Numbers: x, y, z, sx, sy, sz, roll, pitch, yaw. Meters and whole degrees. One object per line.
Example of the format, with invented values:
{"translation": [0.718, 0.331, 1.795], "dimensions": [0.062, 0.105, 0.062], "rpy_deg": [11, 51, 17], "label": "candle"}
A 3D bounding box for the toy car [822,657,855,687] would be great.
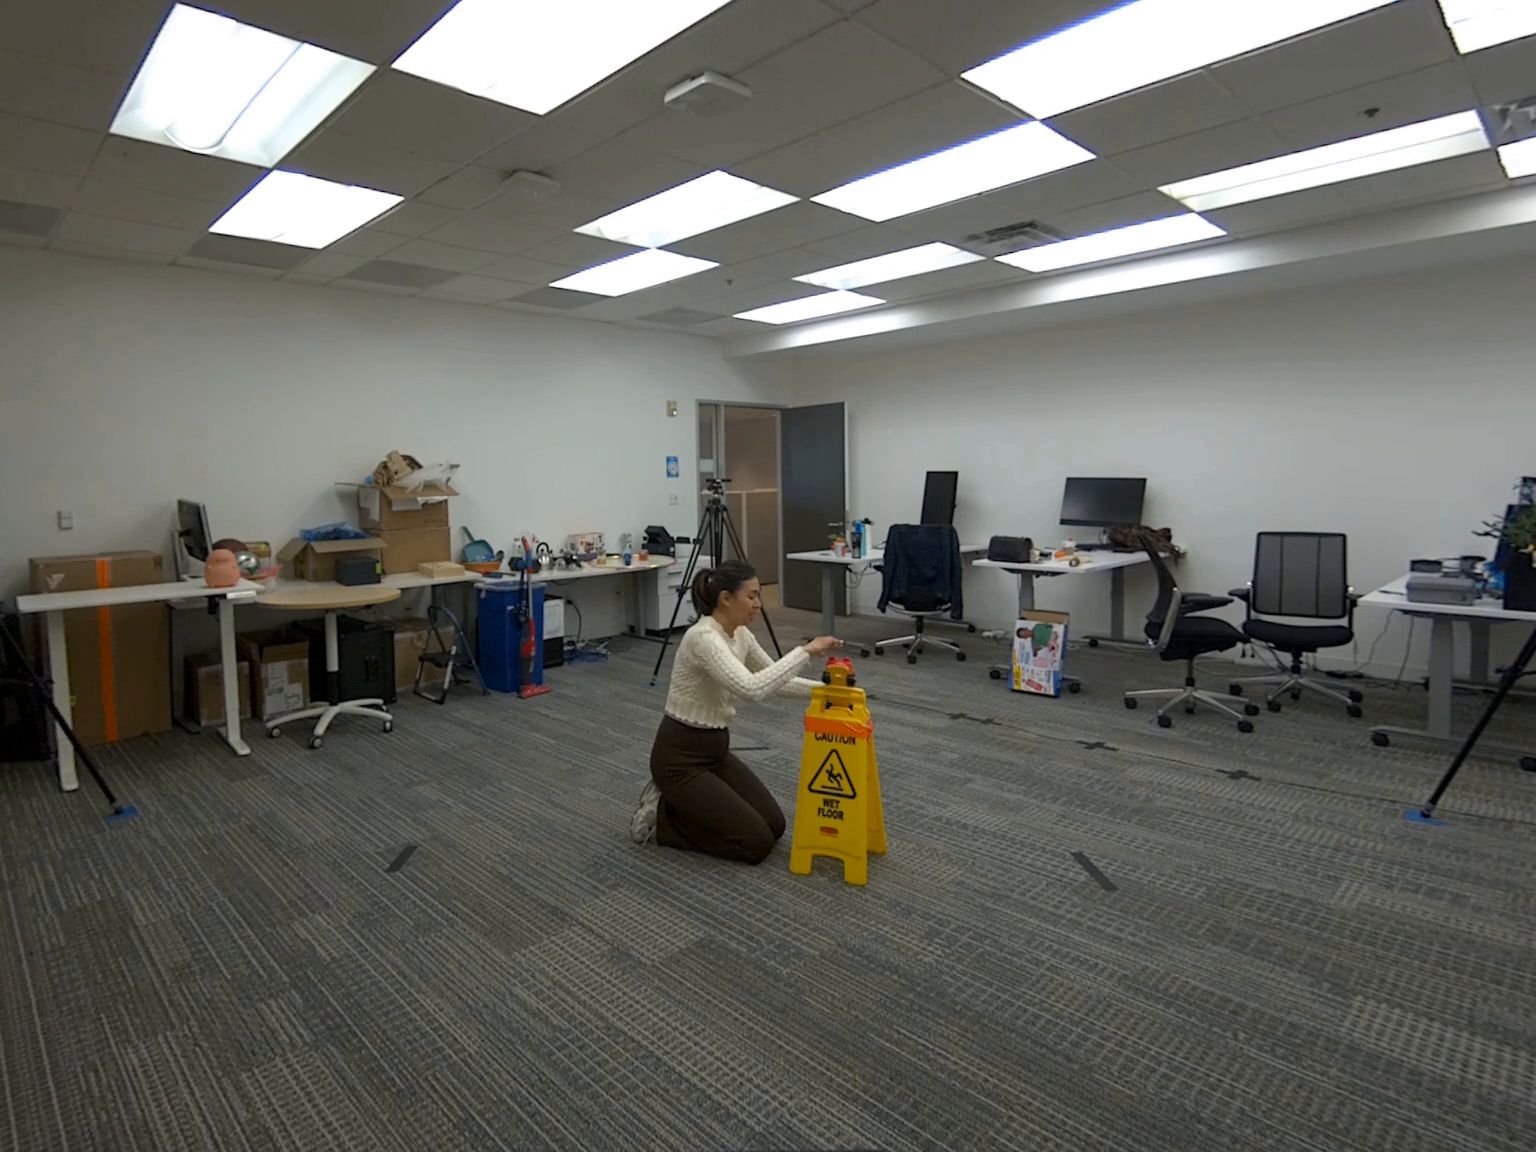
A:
{"translation": [0.261, 0.399, 3.095], "dimensions": [0.132, 0.250, 0.083], "rpy_deg": [2, 20, 14], "label": "toy car"}
